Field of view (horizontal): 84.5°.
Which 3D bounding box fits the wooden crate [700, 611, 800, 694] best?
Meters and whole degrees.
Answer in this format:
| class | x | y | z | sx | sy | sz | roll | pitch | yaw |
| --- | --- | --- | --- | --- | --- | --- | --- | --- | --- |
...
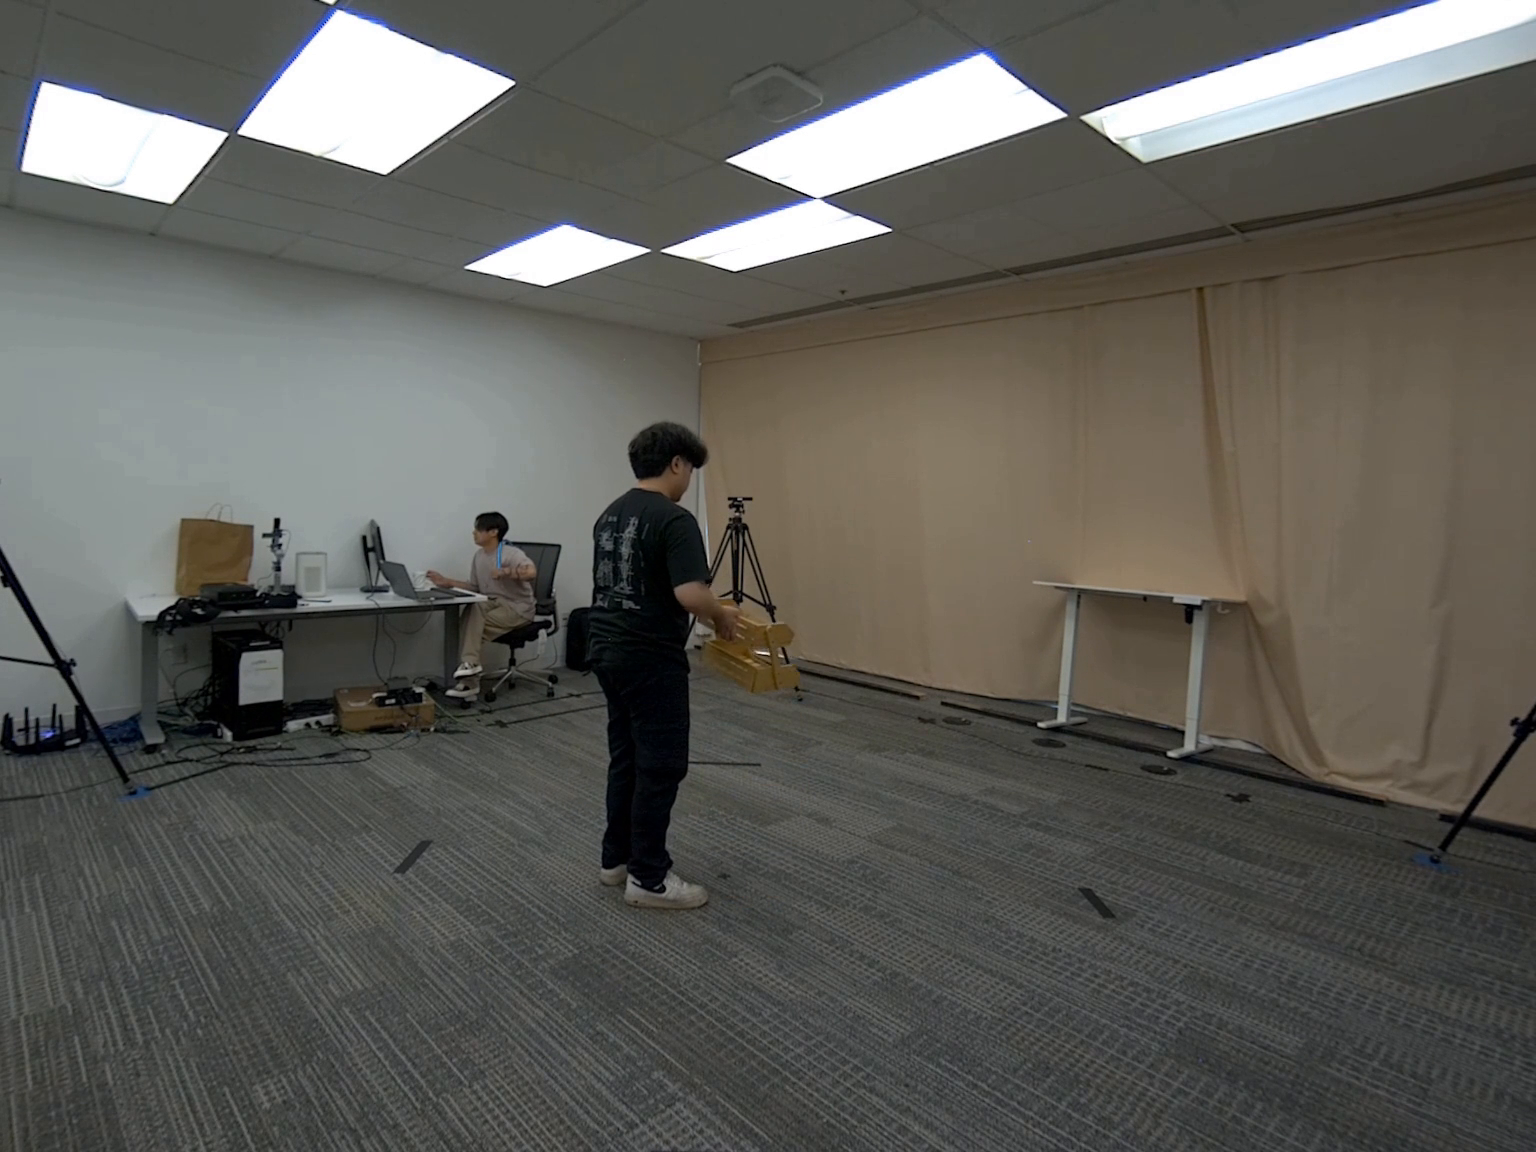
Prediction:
| class | x | y | z | sx | sy | sz | roll | pitch | yaw |
| --- | --- | --- | --- | --- | --- | --- | --- | --- | --- |
| wooden crate | -0.069 | 0.248 | 3.143 | 0.295 | 0.271 | 0.334 | -1 | 16 | -45 |
